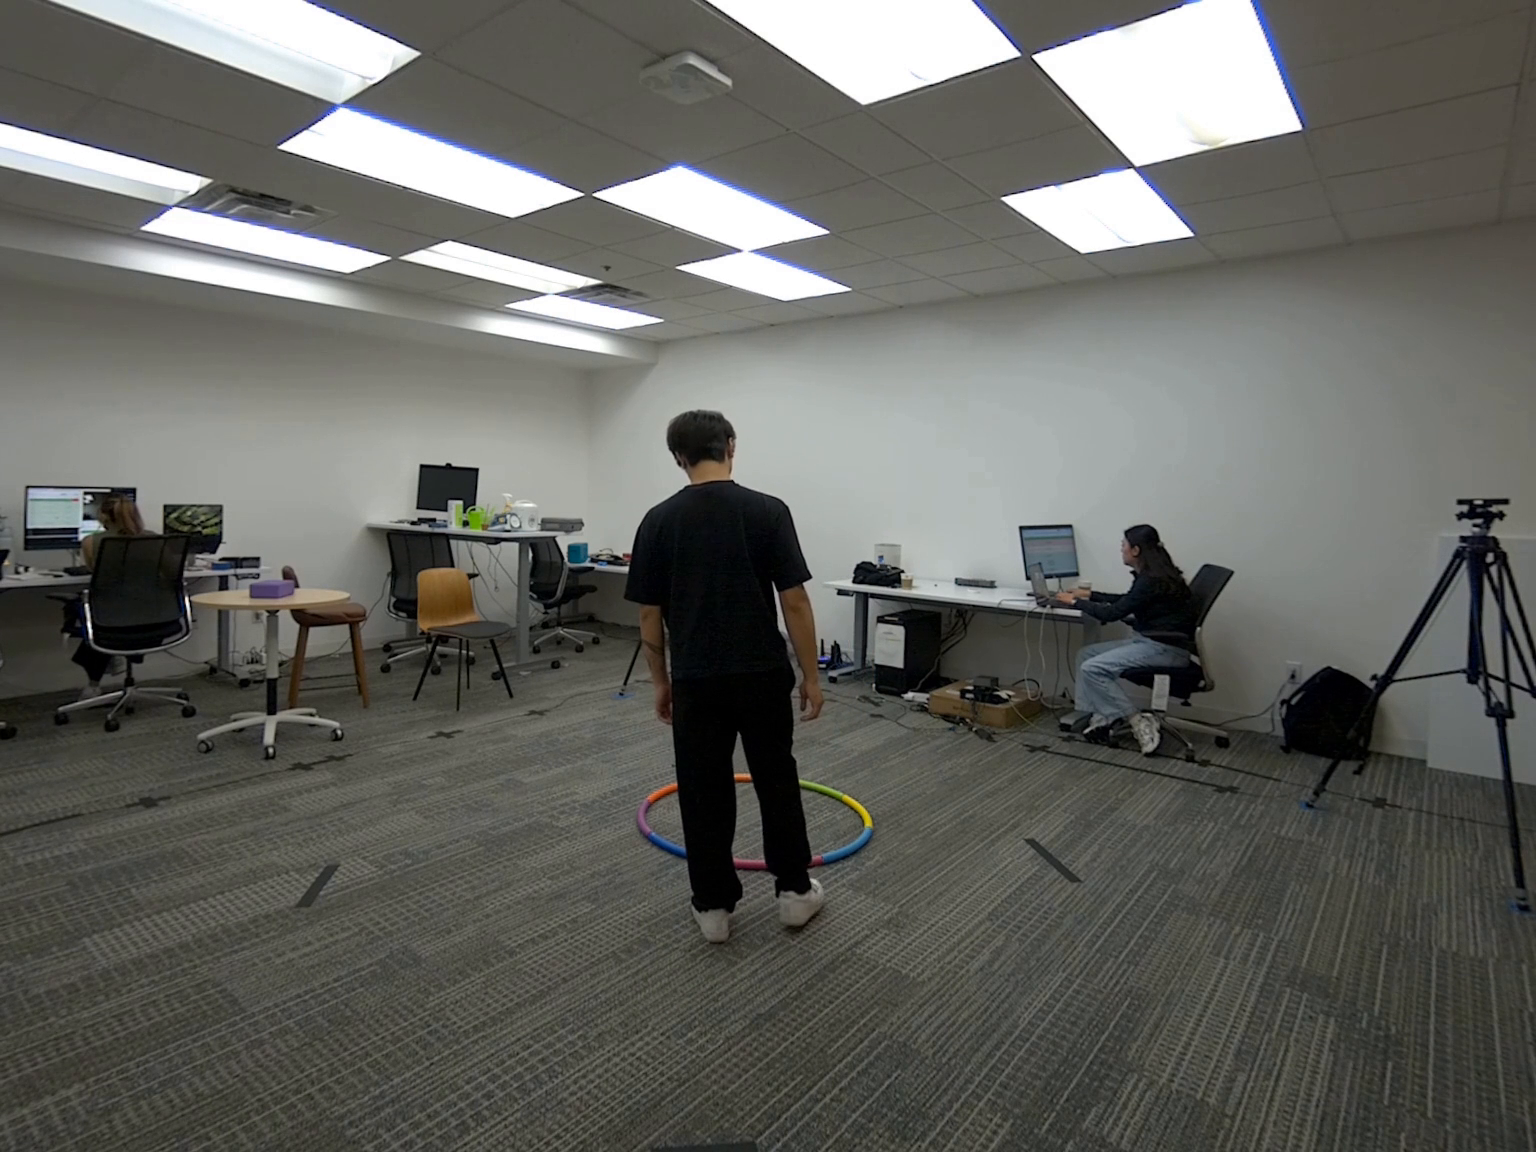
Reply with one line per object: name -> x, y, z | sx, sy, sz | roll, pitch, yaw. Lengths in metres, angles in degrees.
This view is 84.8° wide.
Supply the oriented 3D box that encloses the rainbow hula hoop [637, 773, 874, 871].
rainbow hula hoop -> -0.070, 0.996, 3.582 | 0.978, 0.035, 0.984 | 1, 6, -2
